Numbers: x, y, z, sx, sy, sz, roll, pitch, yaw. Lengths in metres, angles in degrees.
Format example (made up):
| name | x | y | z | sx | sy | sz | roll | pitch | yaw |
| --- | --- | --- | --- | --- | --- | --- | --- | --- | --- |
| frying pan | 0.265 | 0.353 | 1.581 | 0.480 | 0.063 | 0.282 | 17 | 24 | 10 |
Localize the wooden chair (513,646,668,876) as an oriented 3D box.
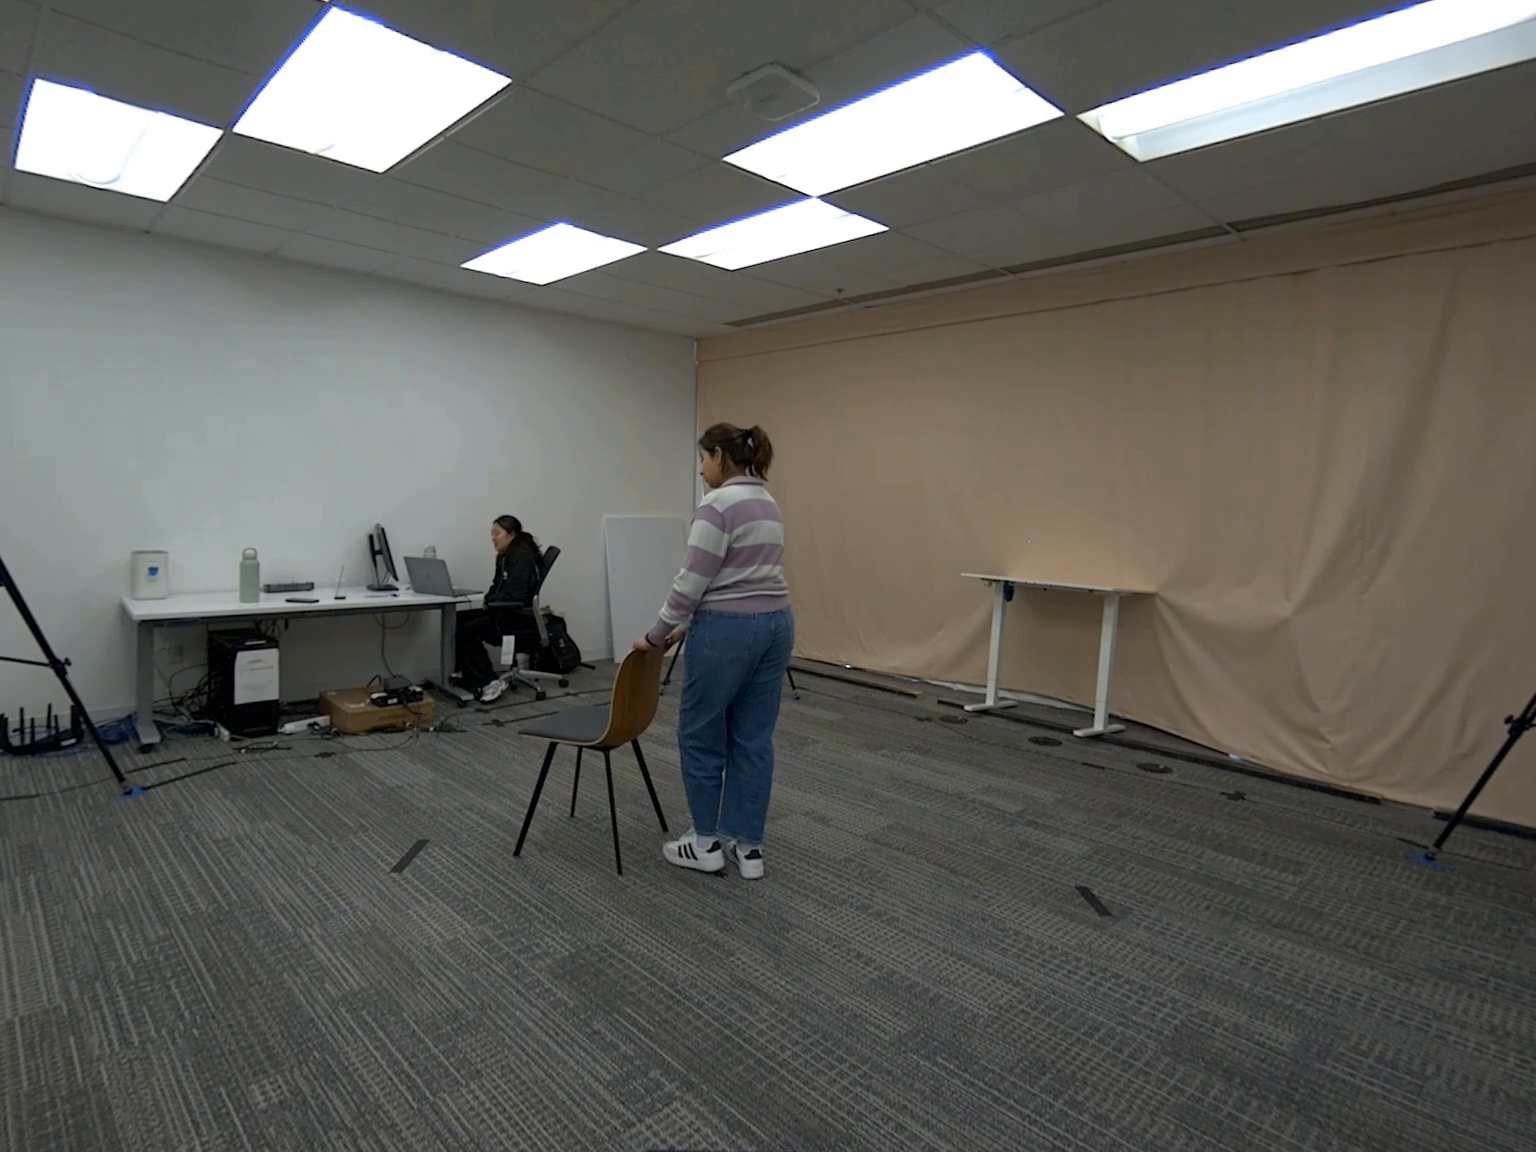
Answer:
| name | x | y | z | sx | sy | sz | roll | pitch | yaw |
| --- | --- | --- | --- | --- | --- | --- | --- | --- | --- |
| wooden chair | -0.693 | 0.636 | 3.324 | 0.531 | 0.874 | 0.472 | 7 | 5 | 17 |
